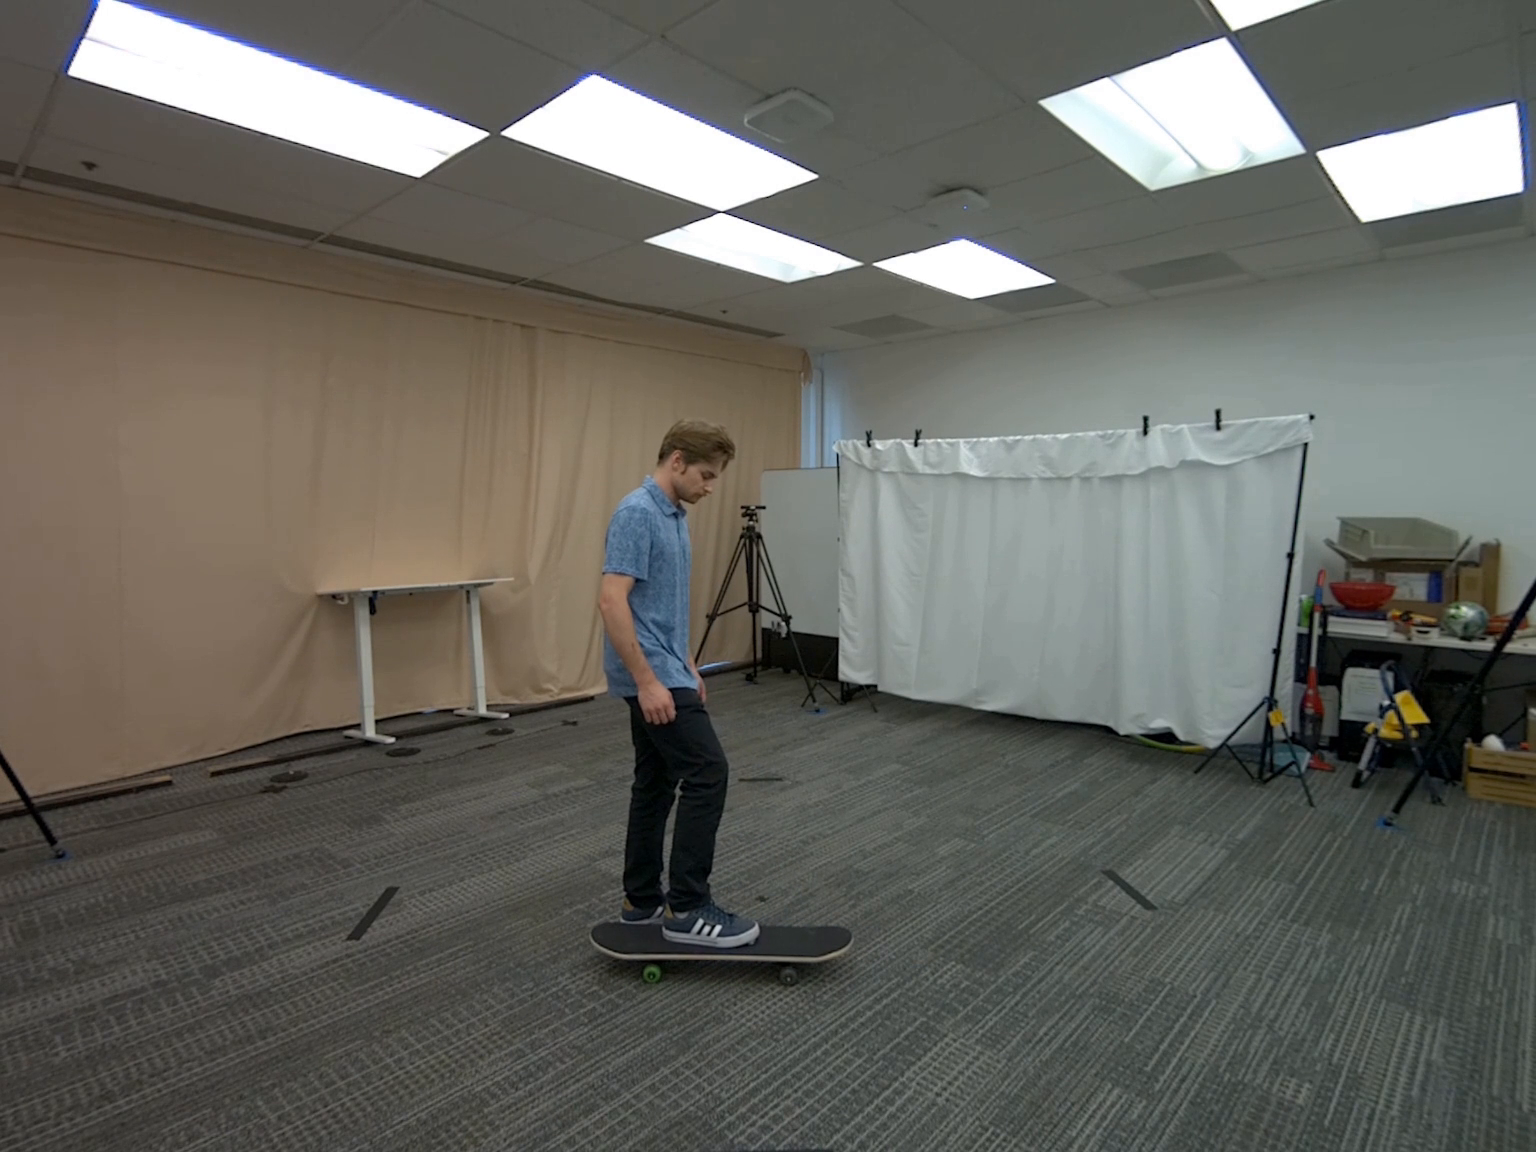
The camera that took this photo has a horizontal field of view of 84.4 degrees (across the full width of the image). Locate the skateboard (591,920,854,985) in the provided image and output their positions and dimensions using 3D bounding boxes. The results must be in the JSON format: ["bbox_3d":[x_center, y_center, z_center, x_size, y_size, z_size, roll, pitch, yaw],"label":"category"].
[{"bbox_3d":[-0.129,1.120,2.533,0.787,0.110,0.193,0,2,2],"label":"skateboard"}]
